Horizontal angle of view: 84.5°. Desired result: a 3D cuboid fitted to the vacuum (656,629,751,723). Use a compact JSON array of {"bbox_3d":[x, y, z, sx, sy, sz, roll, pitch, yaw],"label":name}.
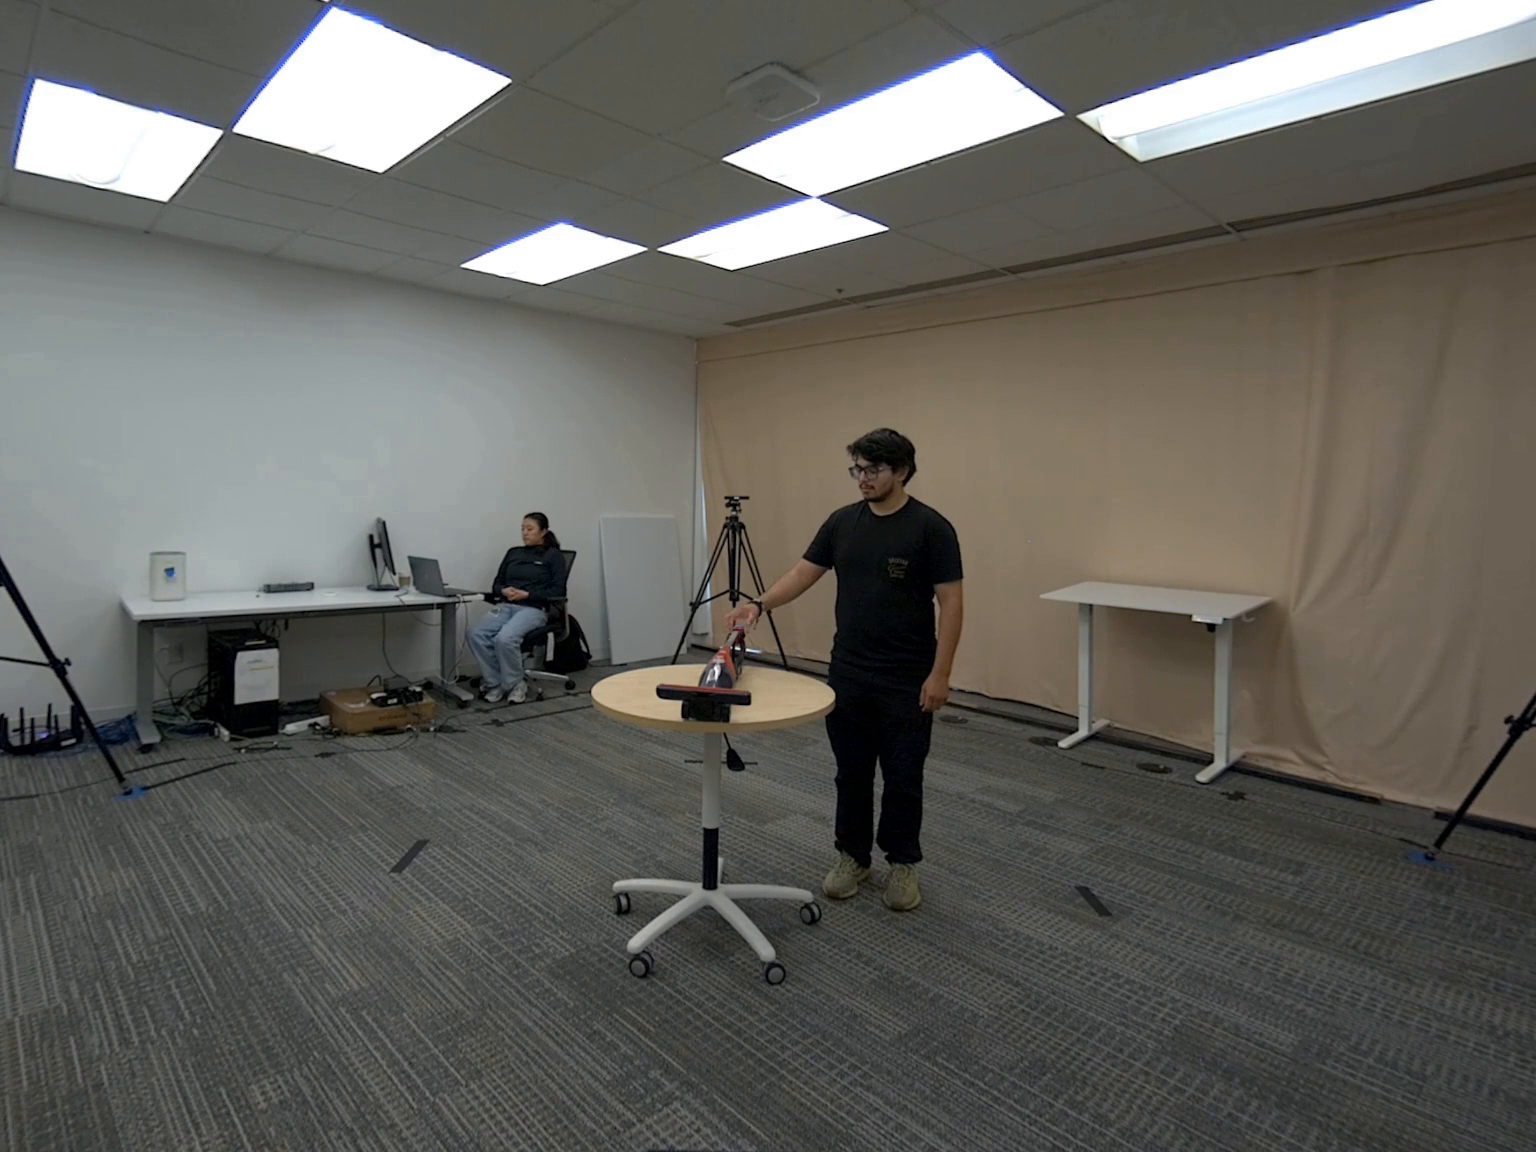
[{"bbox_3d":[-0.135,0.290,2.770,0.254,0.143,1.049,-2,6,4],"label":"vacuum"}]
